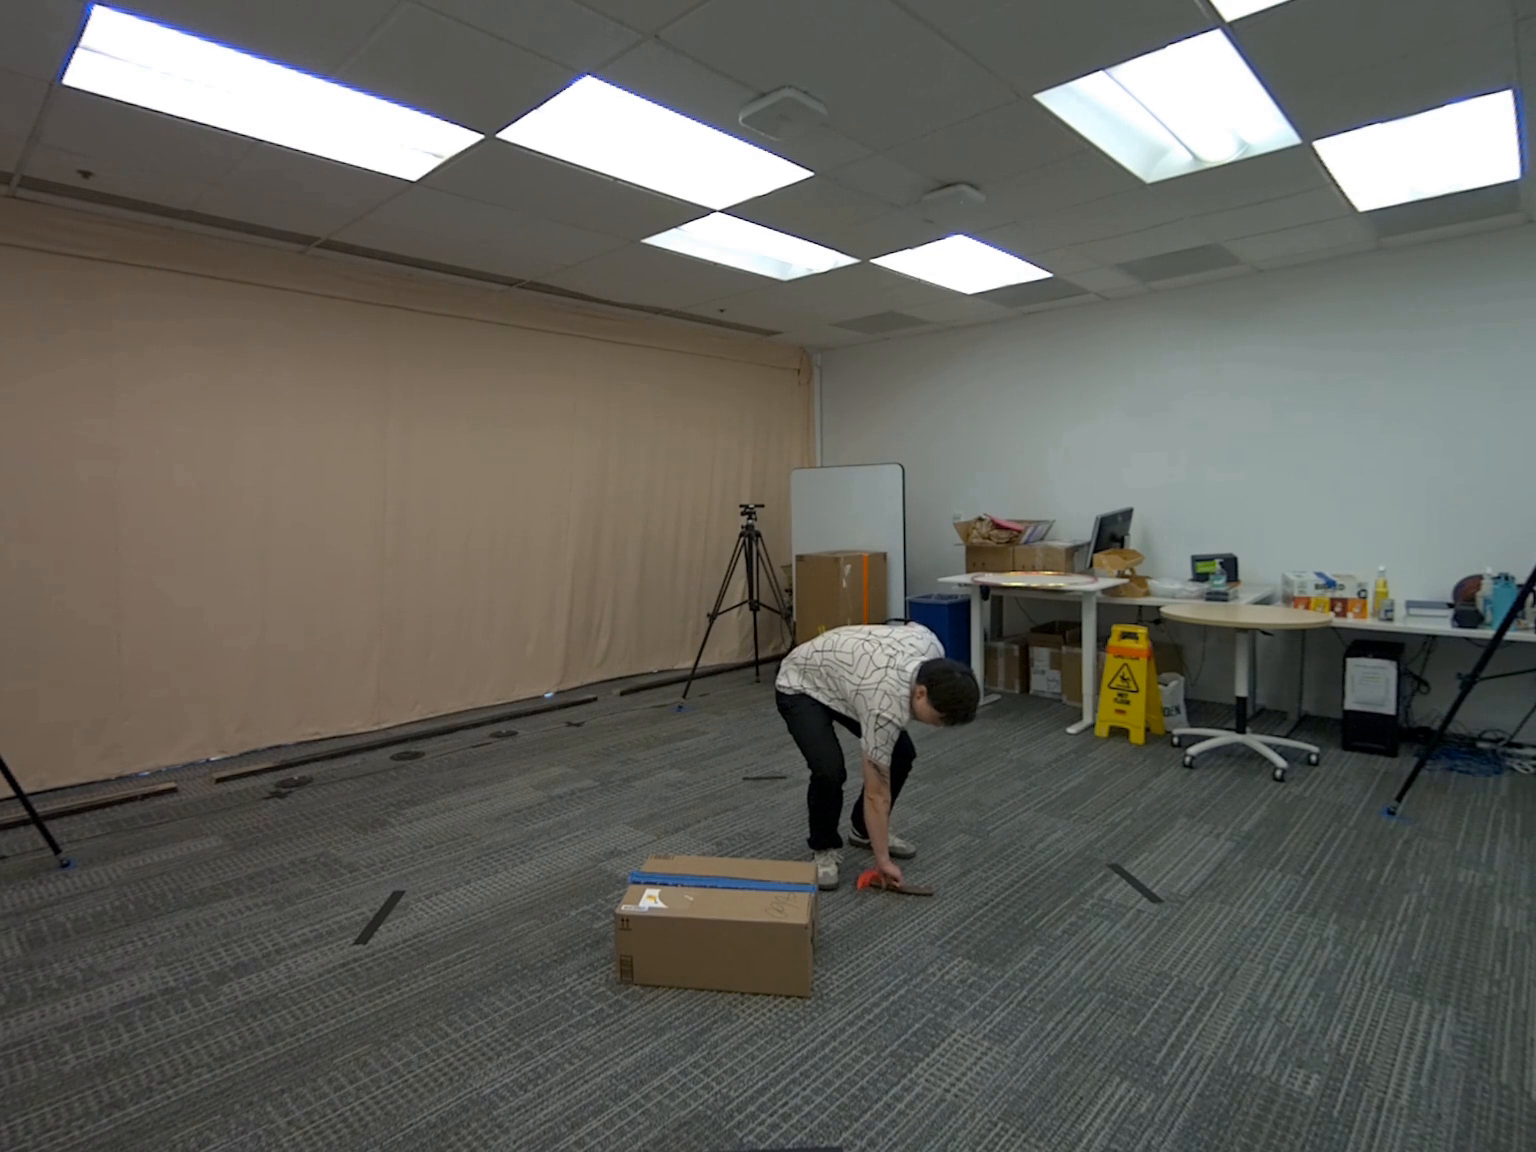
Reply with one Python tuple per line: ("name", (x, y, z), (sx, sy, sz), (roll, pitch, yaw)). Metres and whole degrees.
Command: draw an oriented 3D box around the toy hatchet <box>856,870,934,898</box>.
("toy hatchet", (0.465, 1.100, 3.052), (0.274, 0.029, 0.130), (1, 10, 13))
